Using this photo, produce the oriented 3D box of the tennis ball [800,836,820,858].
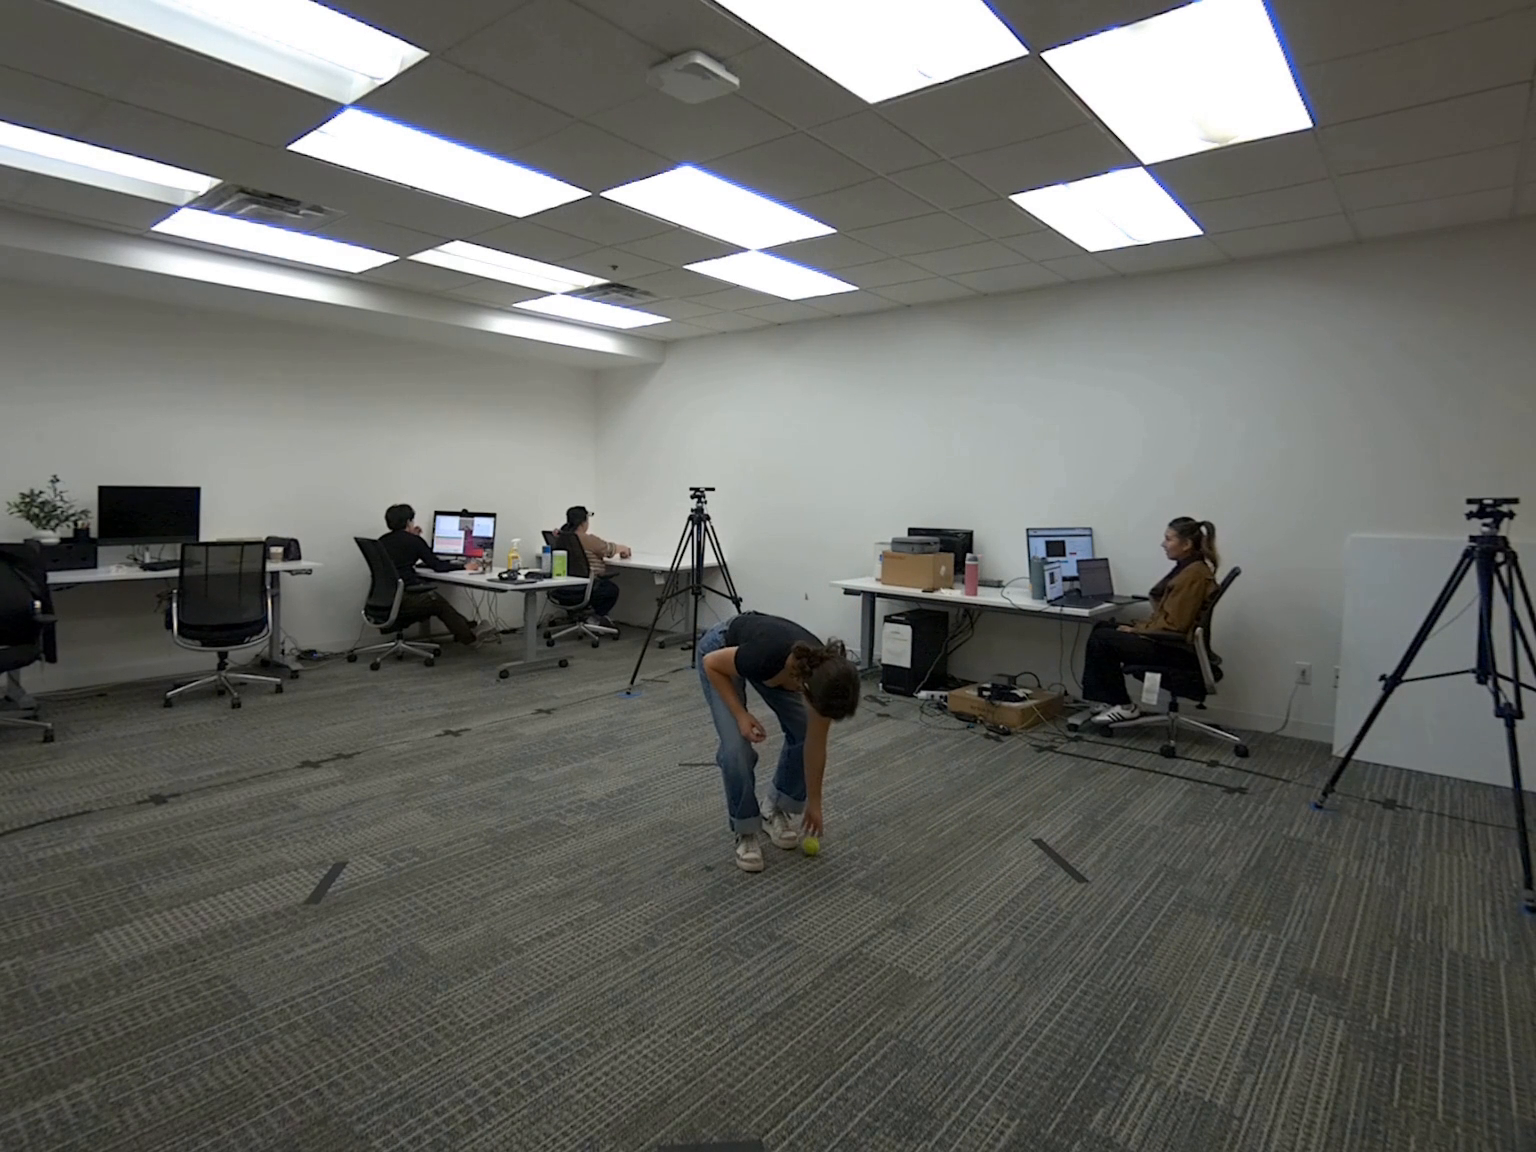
[{"bbox_3d":[0.153,1.025,3.251,0.066,0.066,0.067,1,4,-2],"label":"tennis ball"}]
